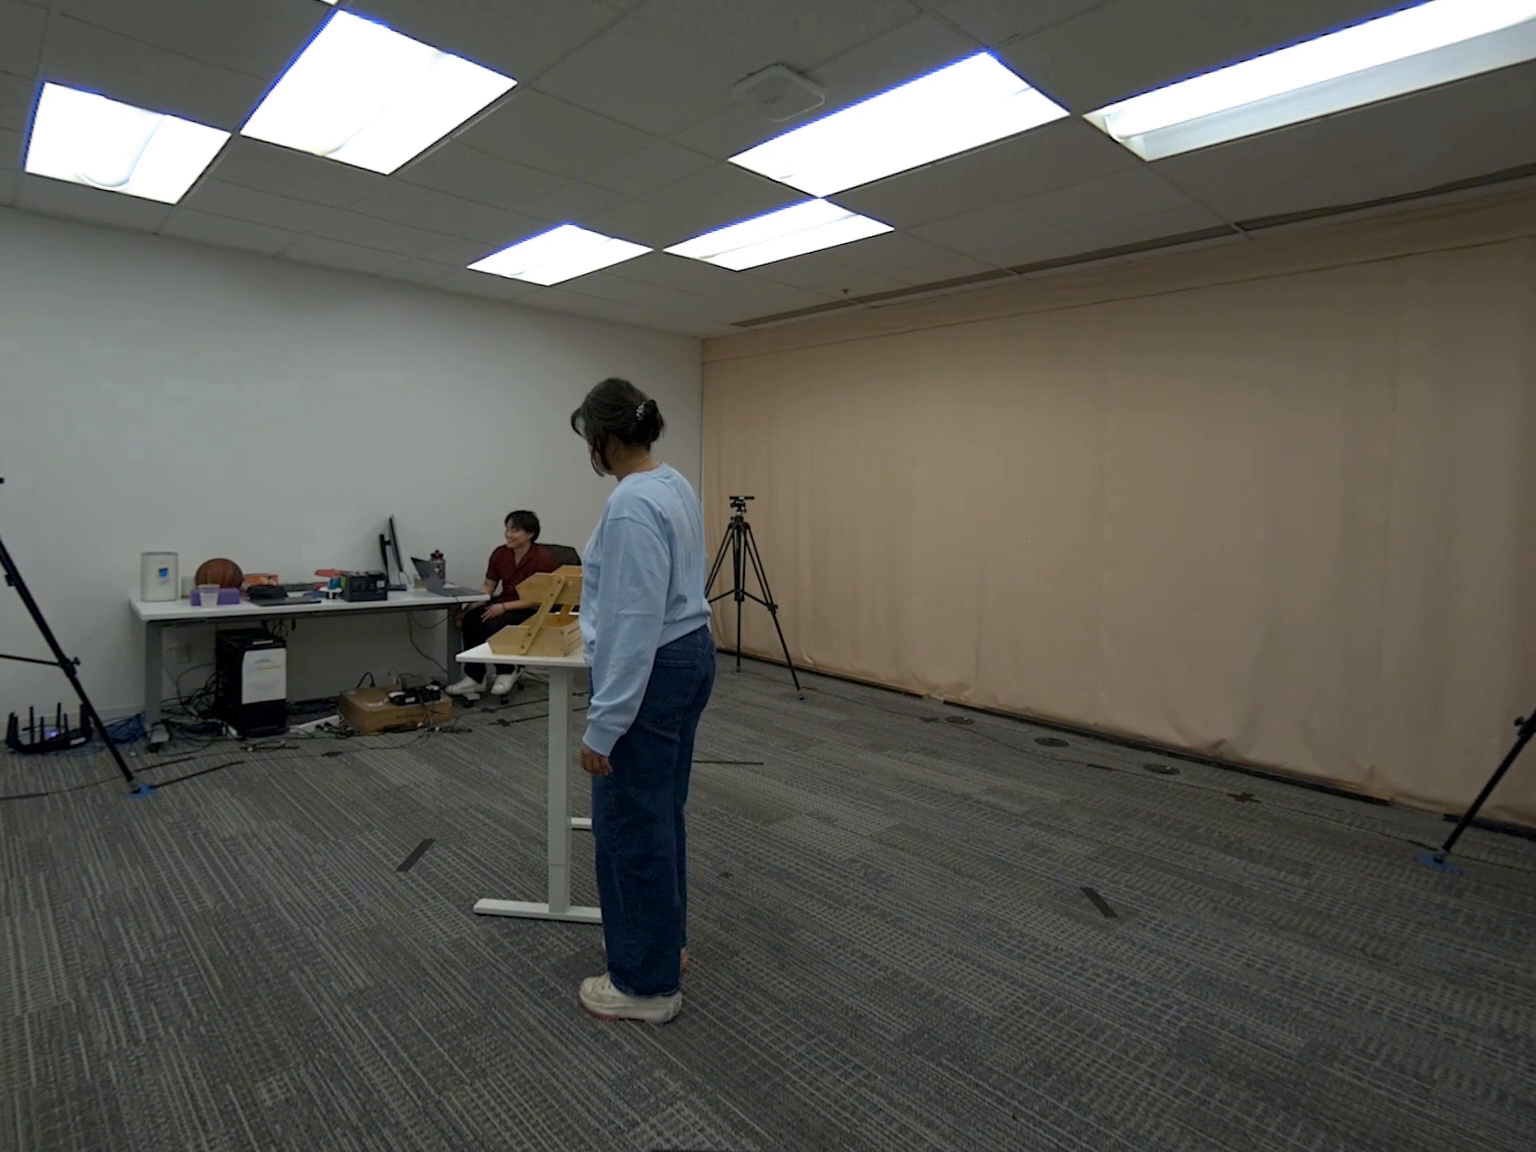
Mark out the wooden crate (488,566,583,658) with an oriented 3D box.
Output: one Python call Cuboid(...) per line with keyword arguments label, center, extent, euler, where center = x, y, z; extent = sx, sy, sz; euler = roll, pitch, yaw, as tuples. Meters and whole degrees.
Cuboid(label="wooden crate", center=(-0.741, 0.107, 2.788), extent=(0.303, 0.272, 0.324), euler=(3, 4, 2))
